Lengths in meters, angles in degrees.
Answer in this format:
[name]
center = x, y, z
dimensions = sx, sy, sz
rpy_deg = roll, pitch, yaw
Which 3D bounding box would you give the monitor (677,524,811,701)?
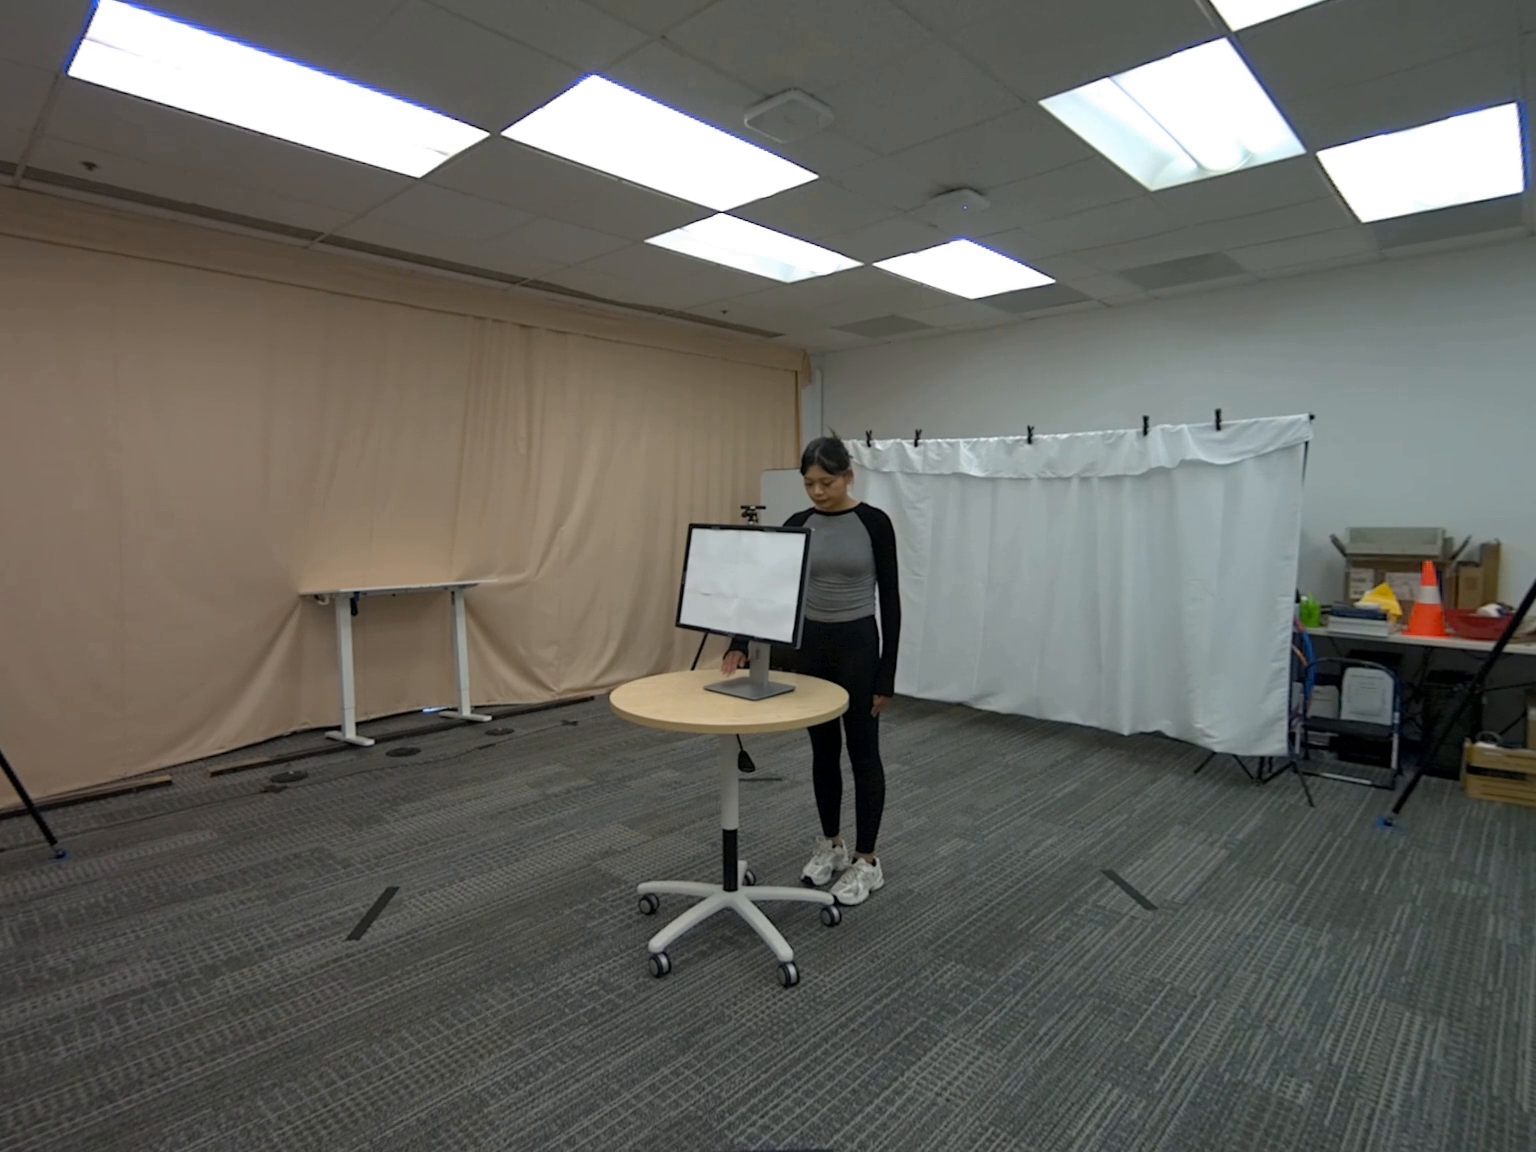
[monitor]
center = -0.060, 0.108, 2.745
dimensions = 0.557, 0.521, 0.181
rpy_deg = 4, 7, 43
